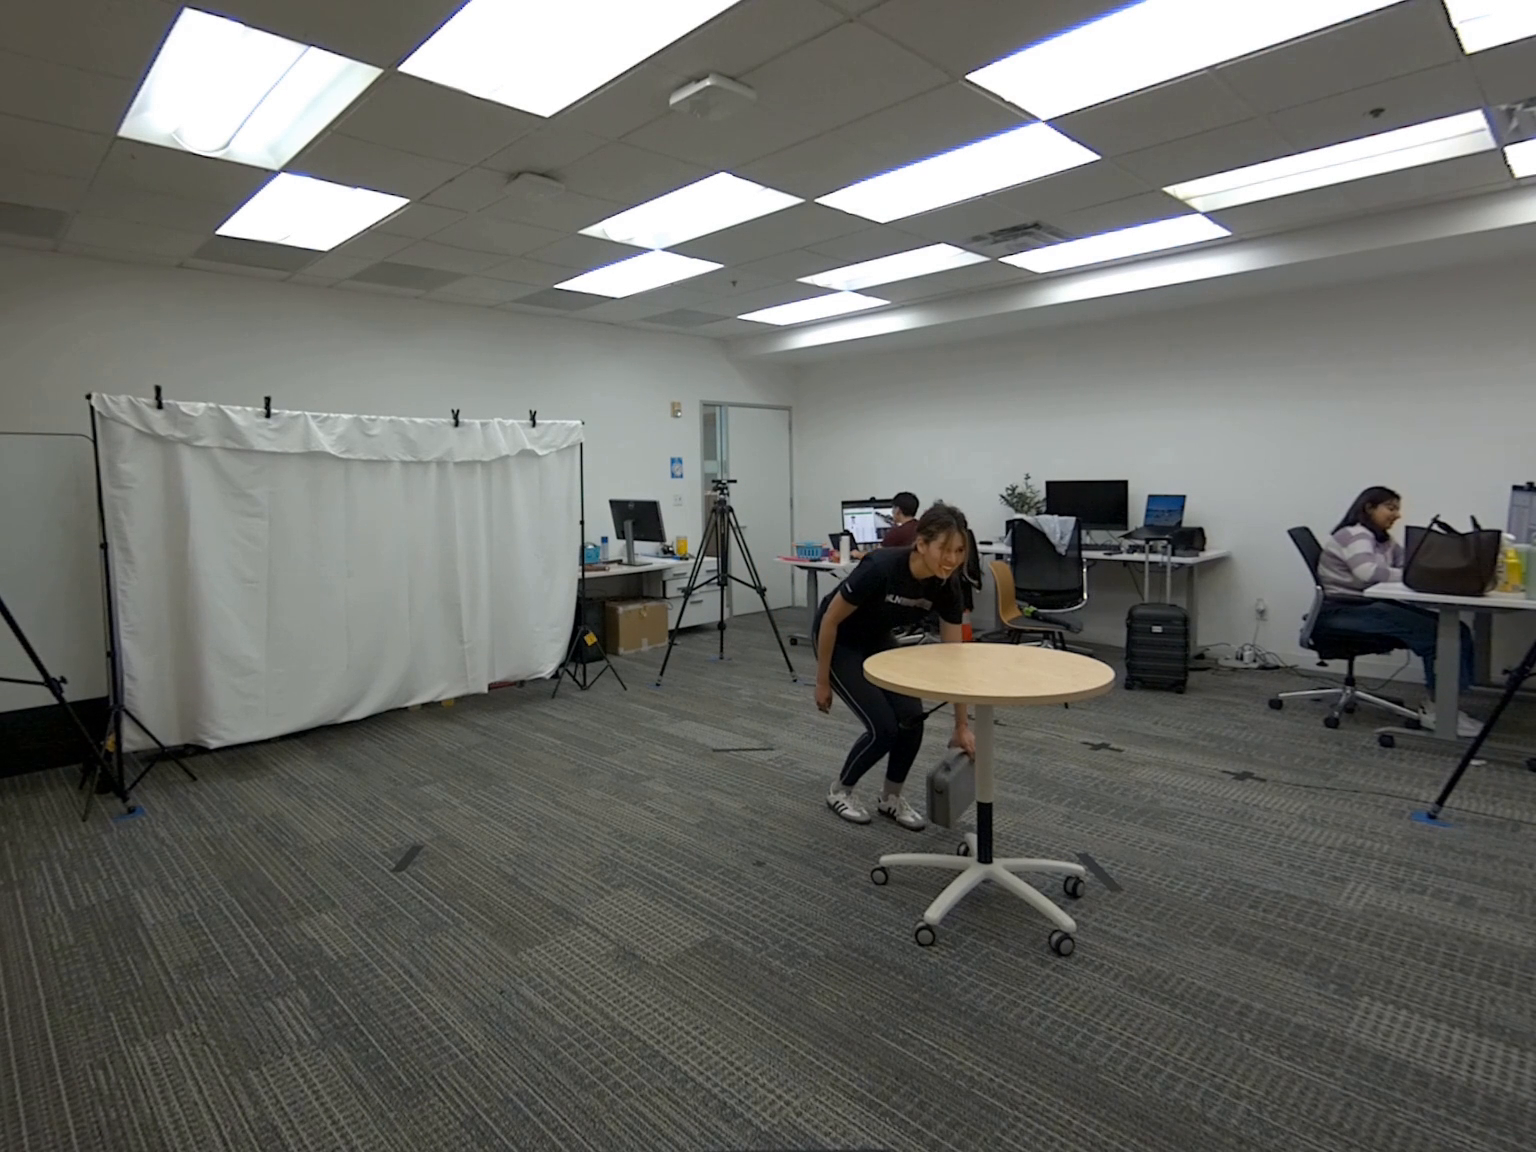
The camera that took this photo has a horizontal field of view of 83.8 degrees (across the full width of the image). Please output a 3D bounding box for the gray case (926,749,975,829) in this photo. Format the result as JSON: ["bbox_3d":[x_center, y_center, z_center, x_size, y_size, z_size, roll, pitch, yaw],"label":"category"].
[{"bbox_3d":[0.710,0.797,3.311,0.254,0.254,0.108,-28,34,-35],"label":"gray case"}]
